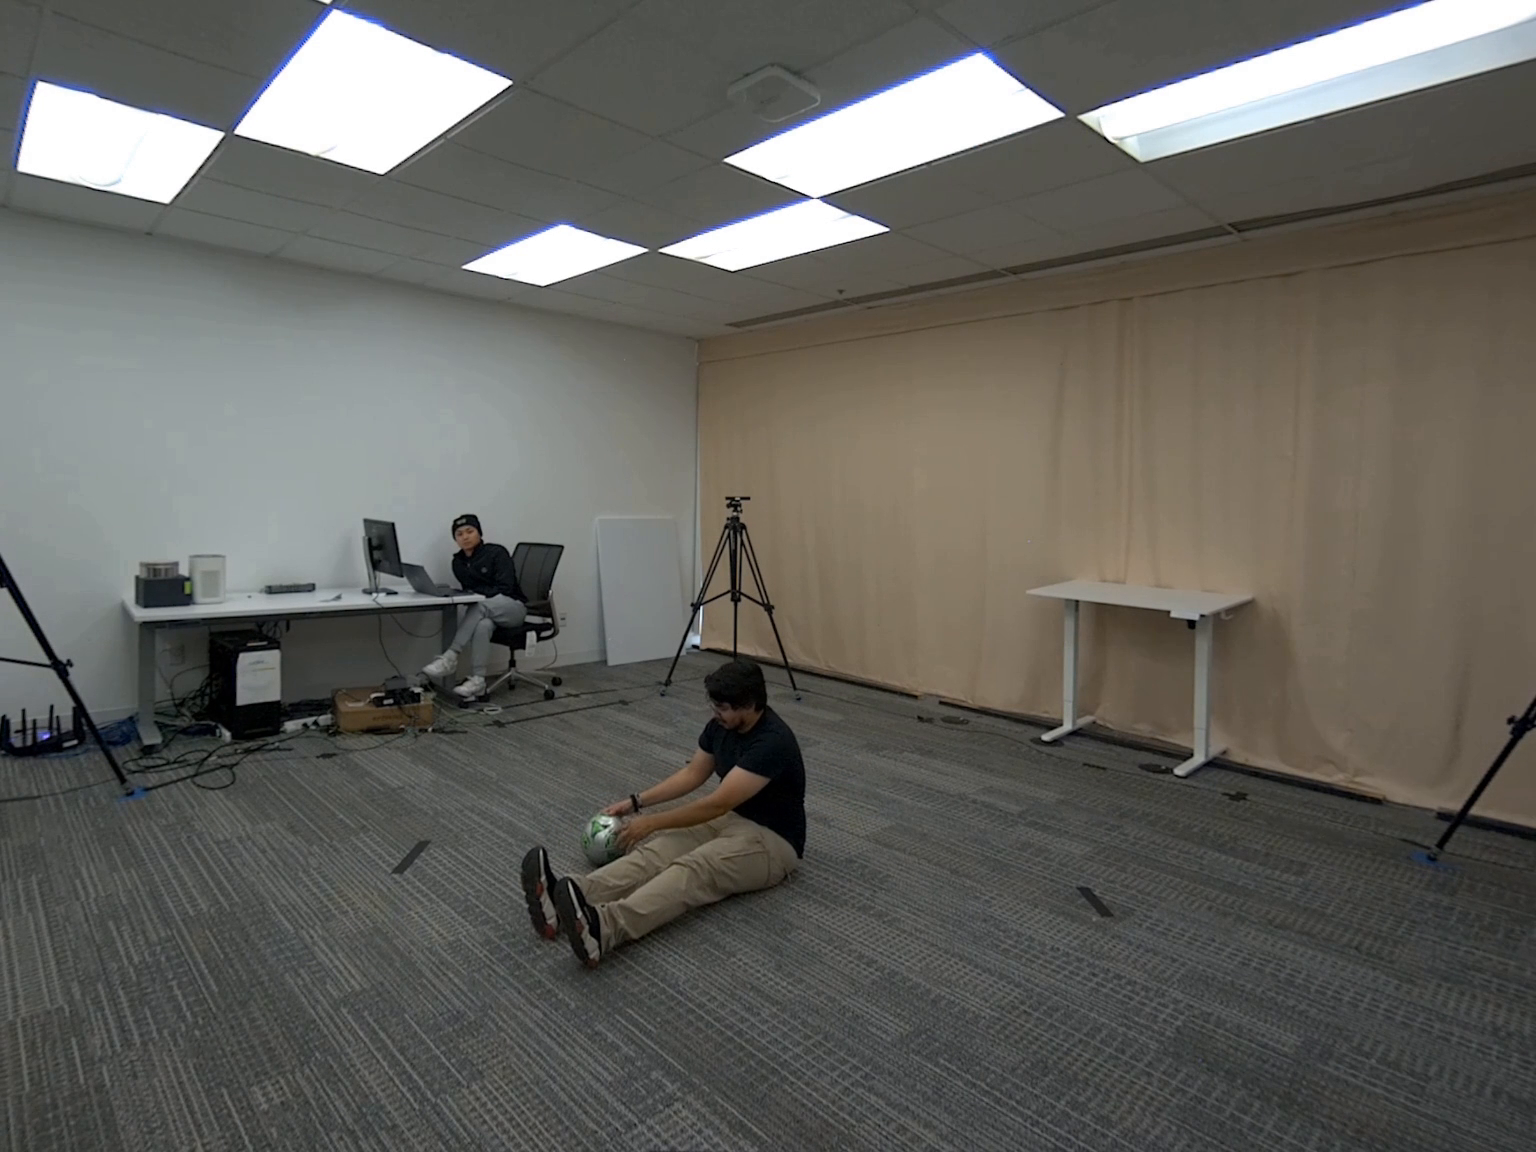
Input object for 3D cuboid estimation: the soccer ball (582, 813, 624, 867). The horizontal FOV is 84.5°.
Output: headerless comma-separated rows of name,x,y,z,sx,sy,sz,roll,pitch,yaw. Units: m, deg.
soccer ball,-0.612,0.988,3.188,0.187,0.187,0.188,1,5,-1
